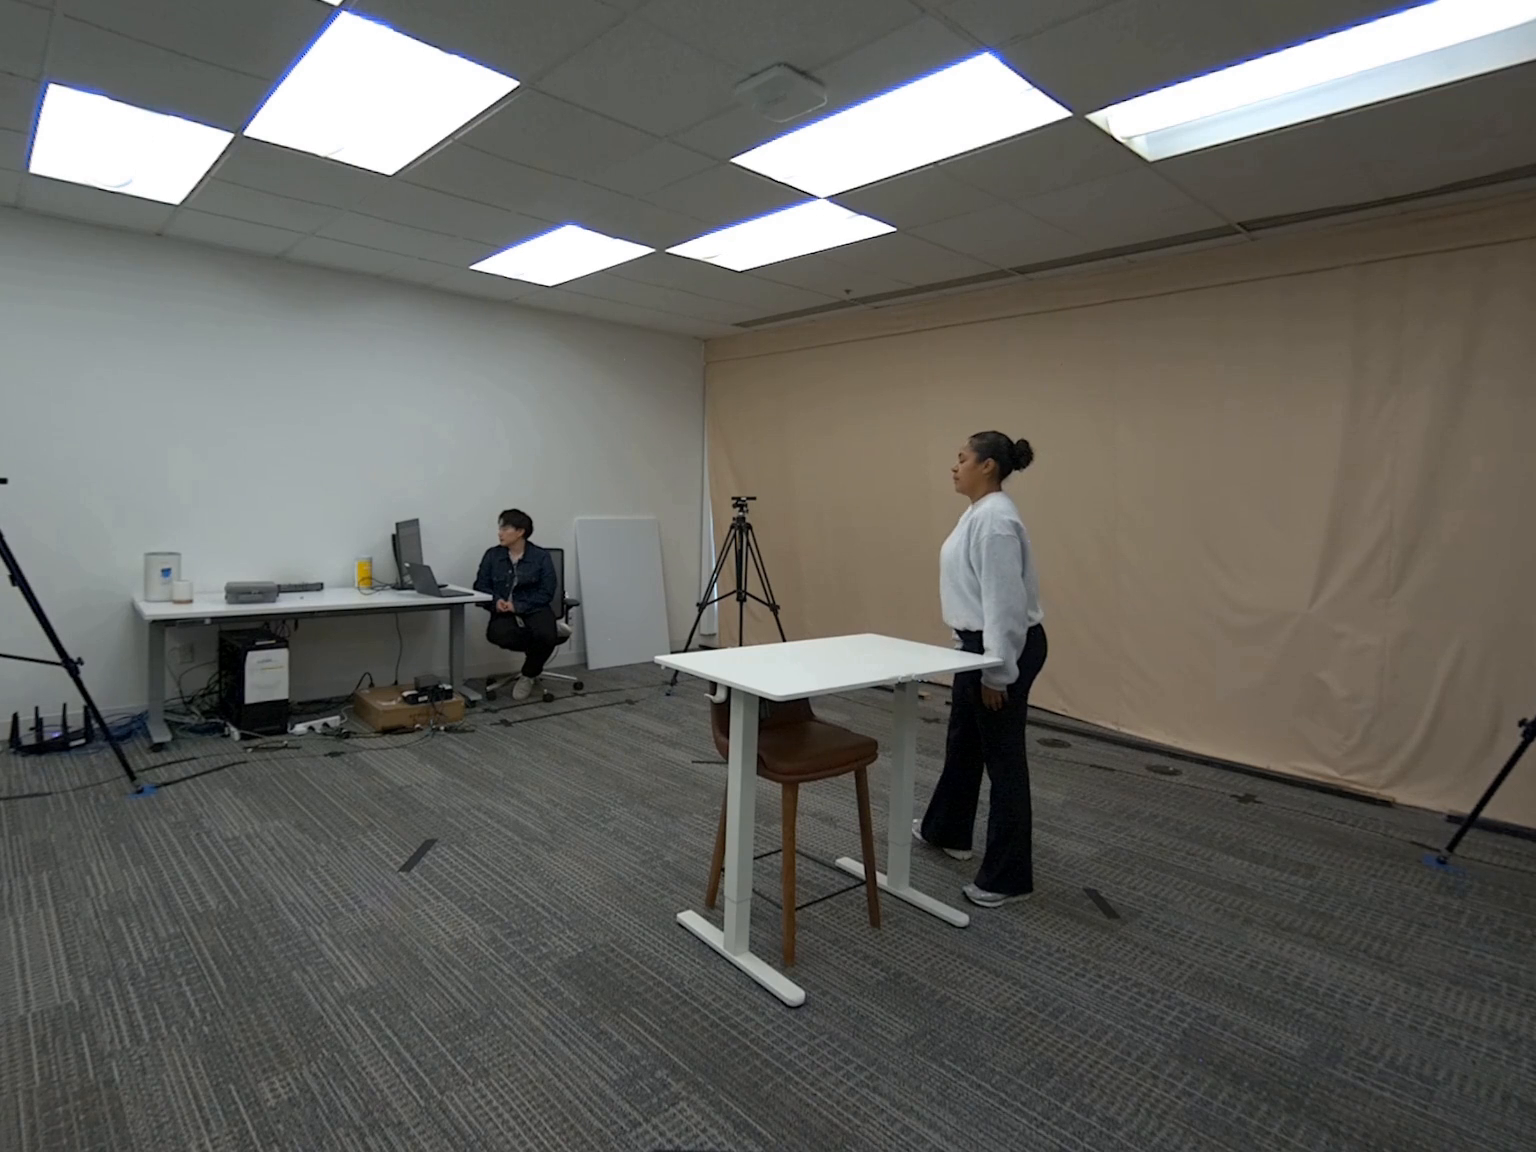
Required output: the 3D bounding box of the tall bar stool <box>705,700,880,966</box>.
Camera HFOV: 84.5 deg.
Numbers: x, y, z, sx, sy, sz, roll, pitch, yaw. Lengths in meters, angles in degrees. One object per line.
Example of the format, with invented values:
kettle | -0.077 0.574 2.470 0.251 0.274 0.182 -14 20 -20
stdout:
tall bar stool | 0.072 0.709 2.785 0.446 0.888 0.479 -2 3 -39
